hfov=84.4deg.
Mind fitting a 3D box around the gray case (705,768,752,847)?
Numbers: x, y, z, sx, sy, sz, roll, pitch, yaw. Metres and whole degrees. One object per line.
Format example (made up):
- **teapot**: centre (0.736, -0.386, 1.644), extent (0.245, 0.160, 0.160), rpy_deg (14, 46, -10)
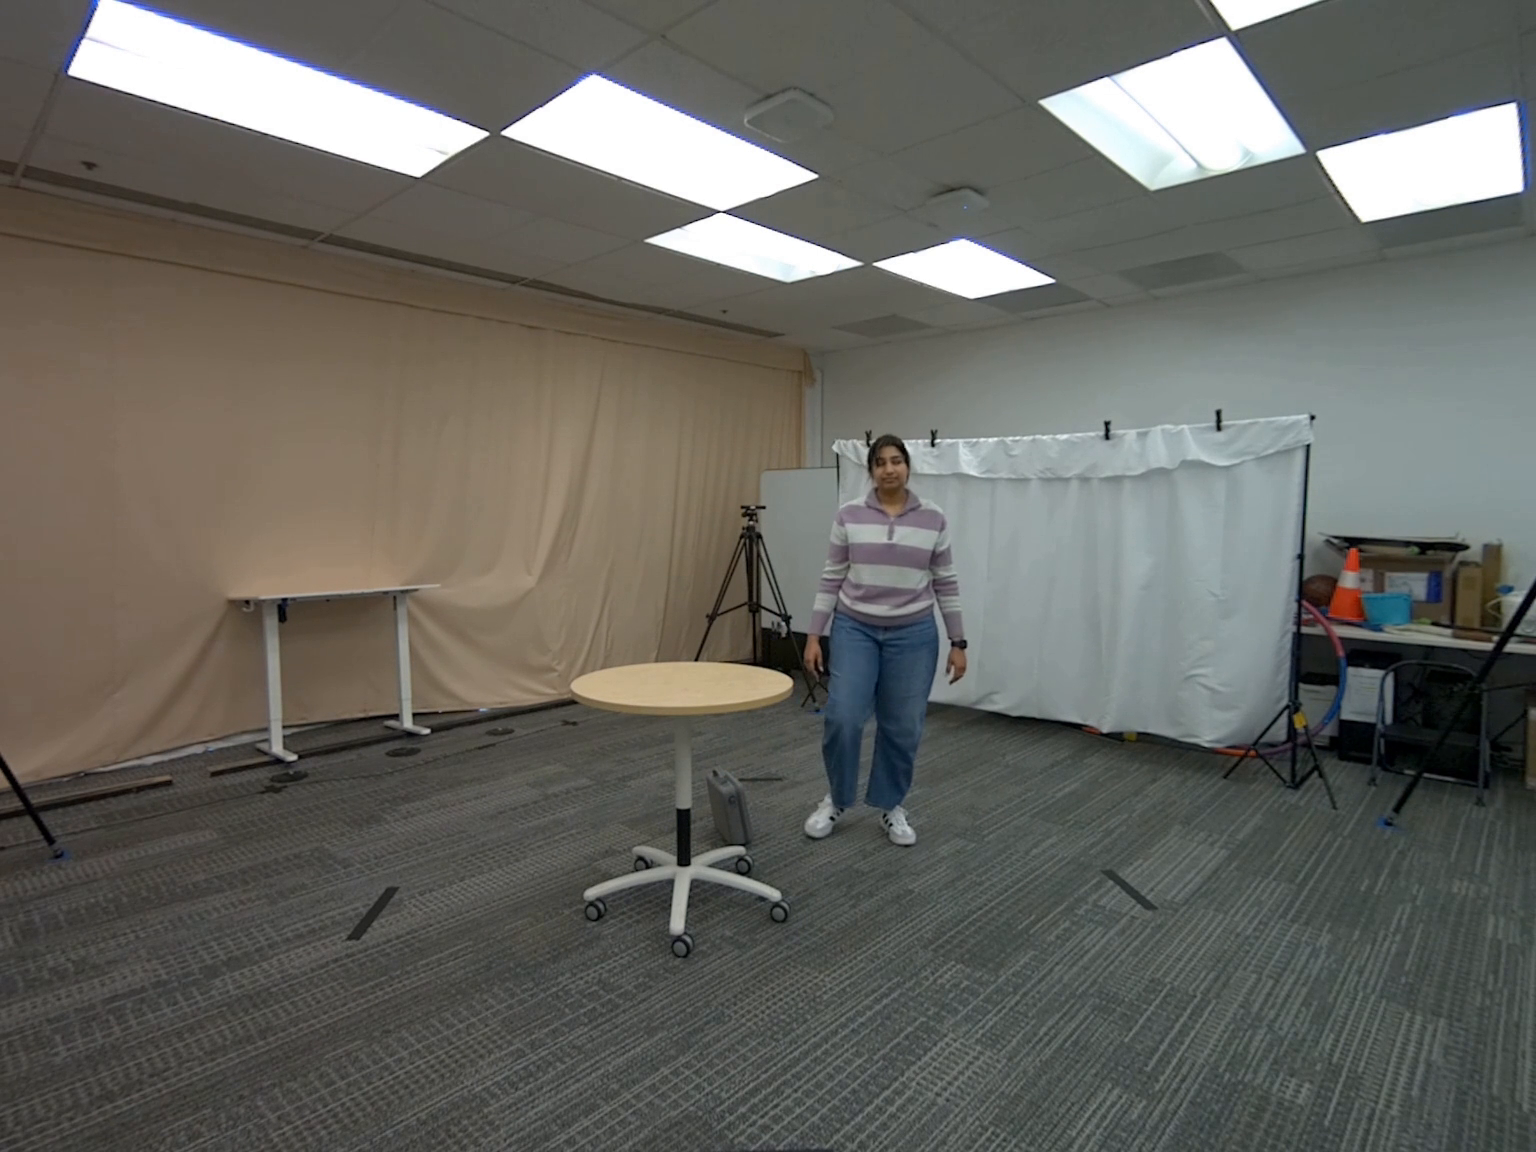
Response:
- **gray case**: centre (-0.161, 0.964, 3.539), extent (0.103, 0.259, 0.262), rpy_deg (-12, 7, -19)
